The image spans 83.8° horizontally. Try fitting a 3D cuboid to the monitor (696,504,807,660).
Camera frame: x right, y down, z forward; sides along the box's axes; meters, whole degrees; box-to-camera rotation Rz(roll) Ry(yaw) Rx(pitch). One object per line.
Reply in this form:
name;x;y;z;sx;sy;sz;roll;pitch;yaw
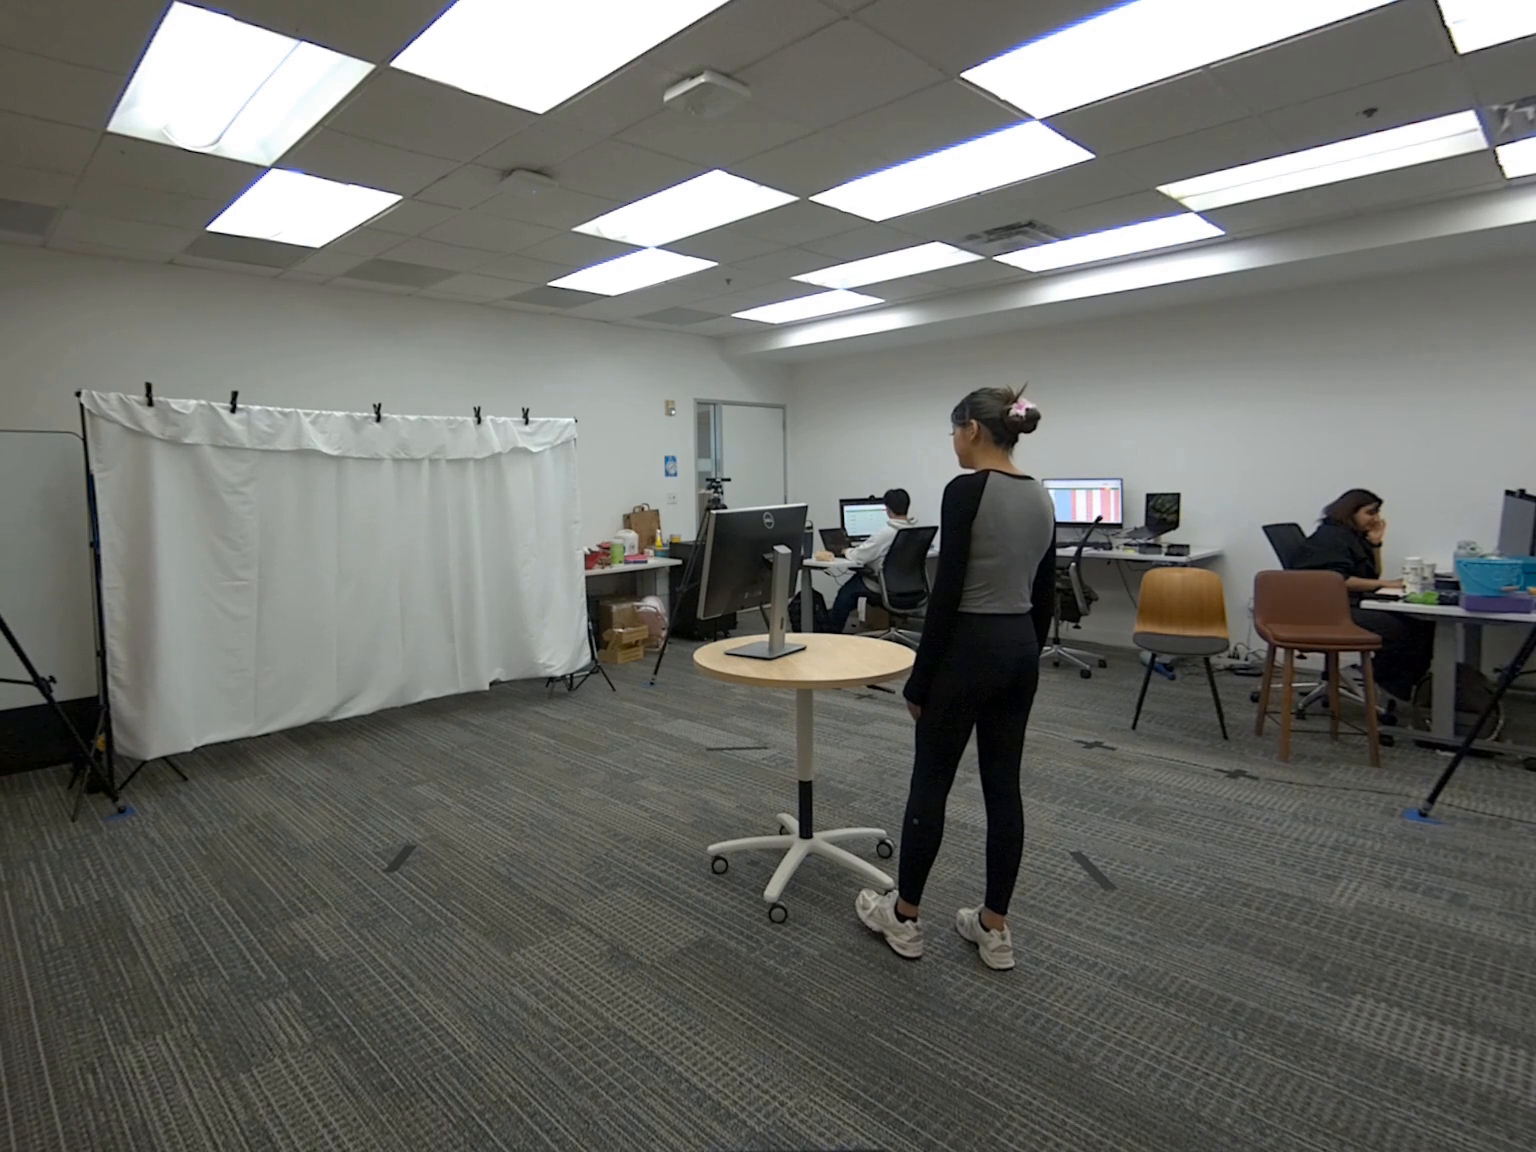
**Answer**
monitor;-0.014;0.020;2.982;0.179;0.515;0.518;-7;2;36
